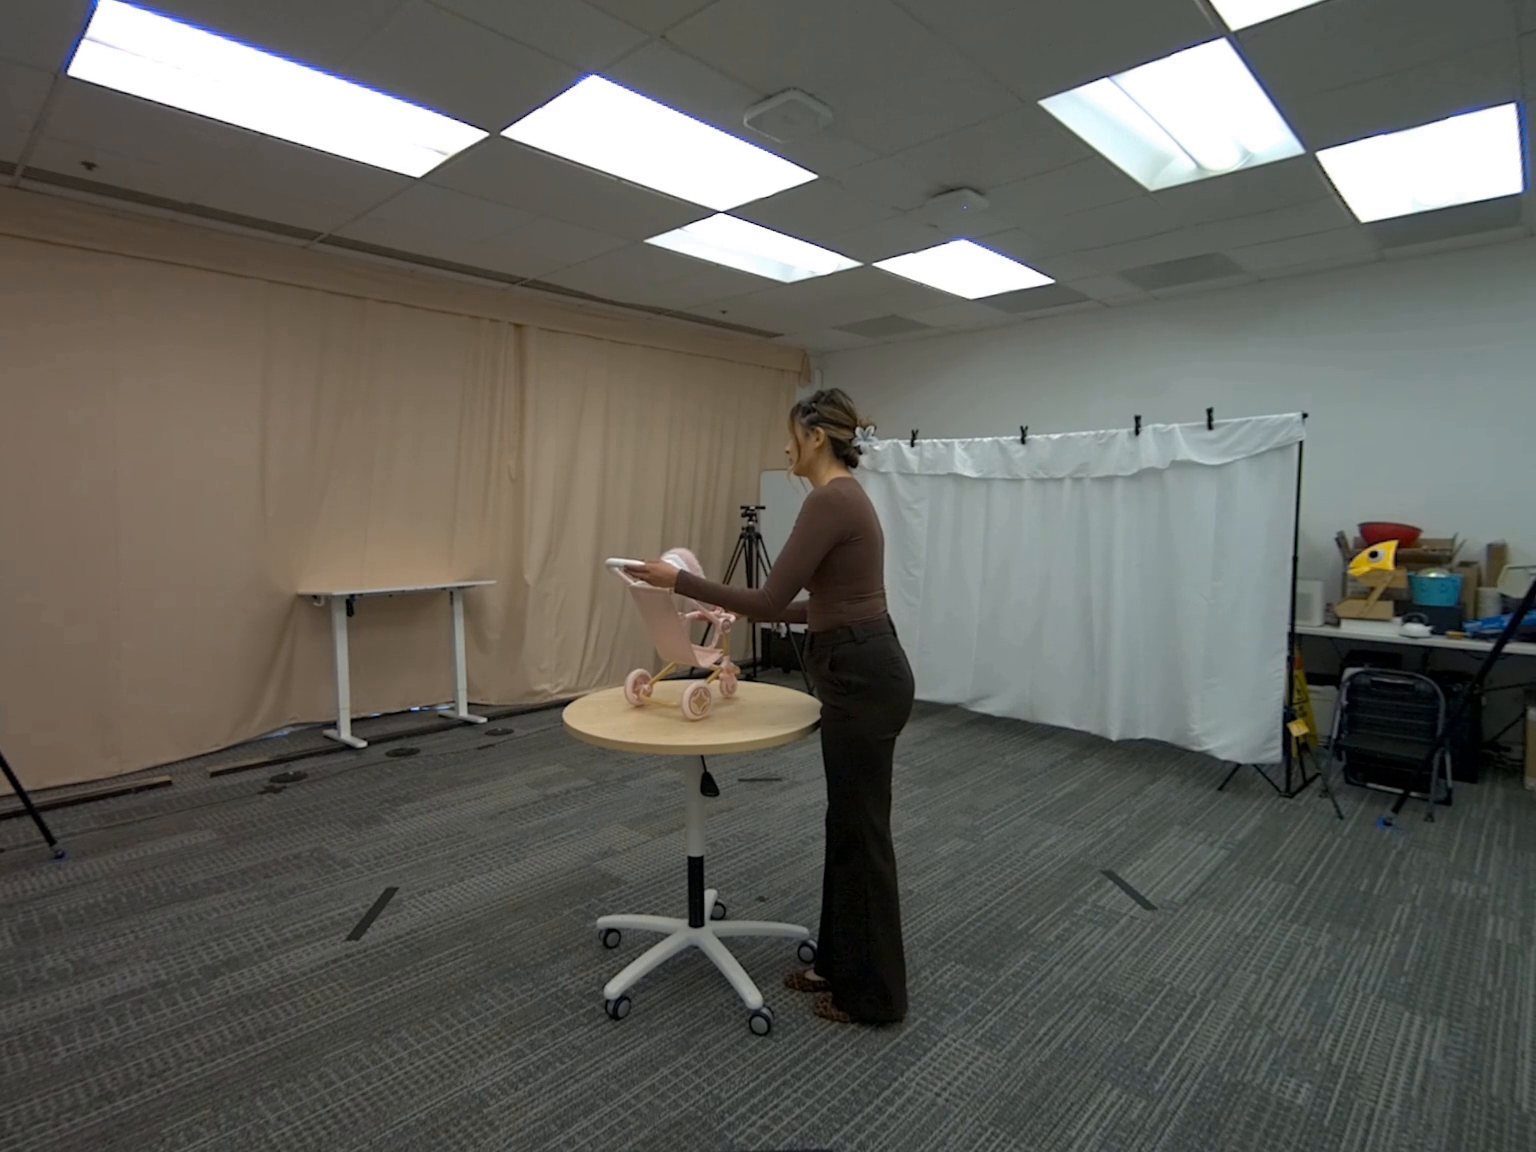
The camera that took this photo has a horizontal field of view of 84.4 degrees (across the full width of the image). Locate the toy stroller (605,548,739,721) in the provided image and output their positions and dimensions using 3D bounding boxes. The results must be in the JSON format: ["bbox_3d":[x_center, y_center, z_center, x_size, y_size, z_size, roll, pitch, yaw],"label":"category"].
[{"bbox_3d":[-0.244,0.159,2.454,0.333,0.530,0.291,-21,16,-40],"label":"toy stroller"}]
